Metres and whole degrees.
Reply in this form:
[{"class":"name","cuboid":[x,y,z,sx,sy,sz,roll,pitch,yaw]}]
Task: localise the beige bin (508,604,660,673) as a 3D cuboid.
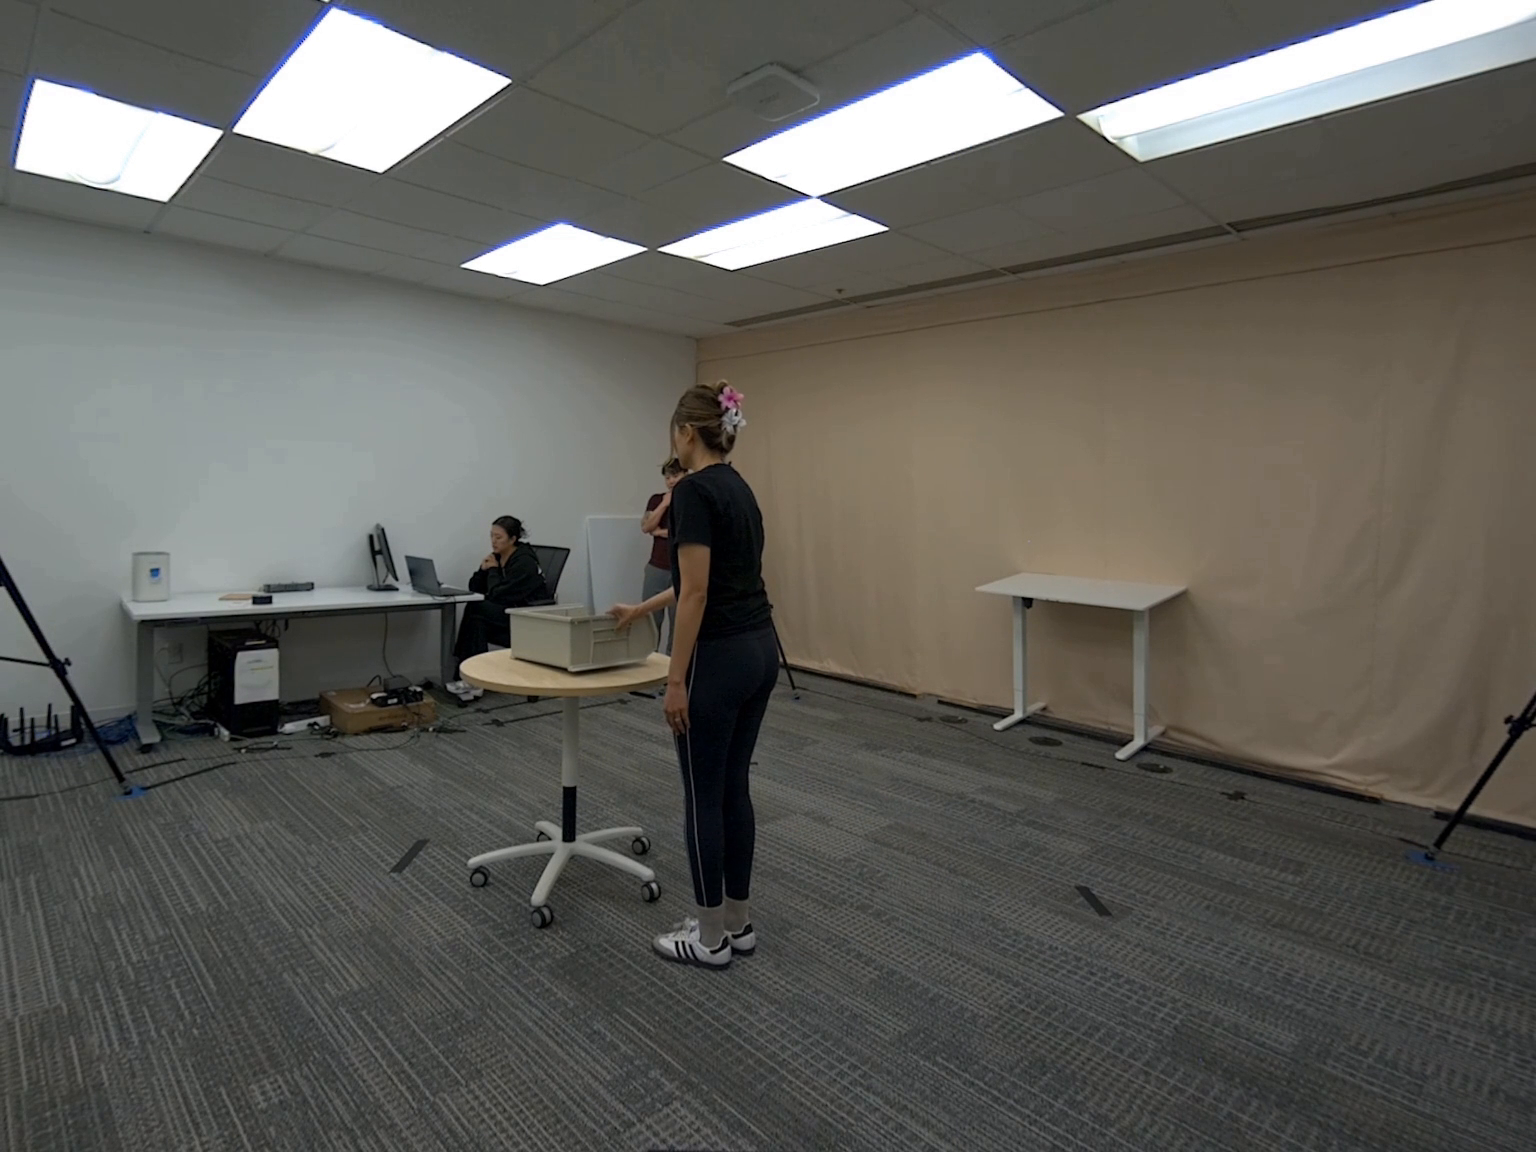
[{"class":"beige bin","cuboid":[-0.682,0.213,3.044,0.433,0.188,0.369,4,6,44]}]
